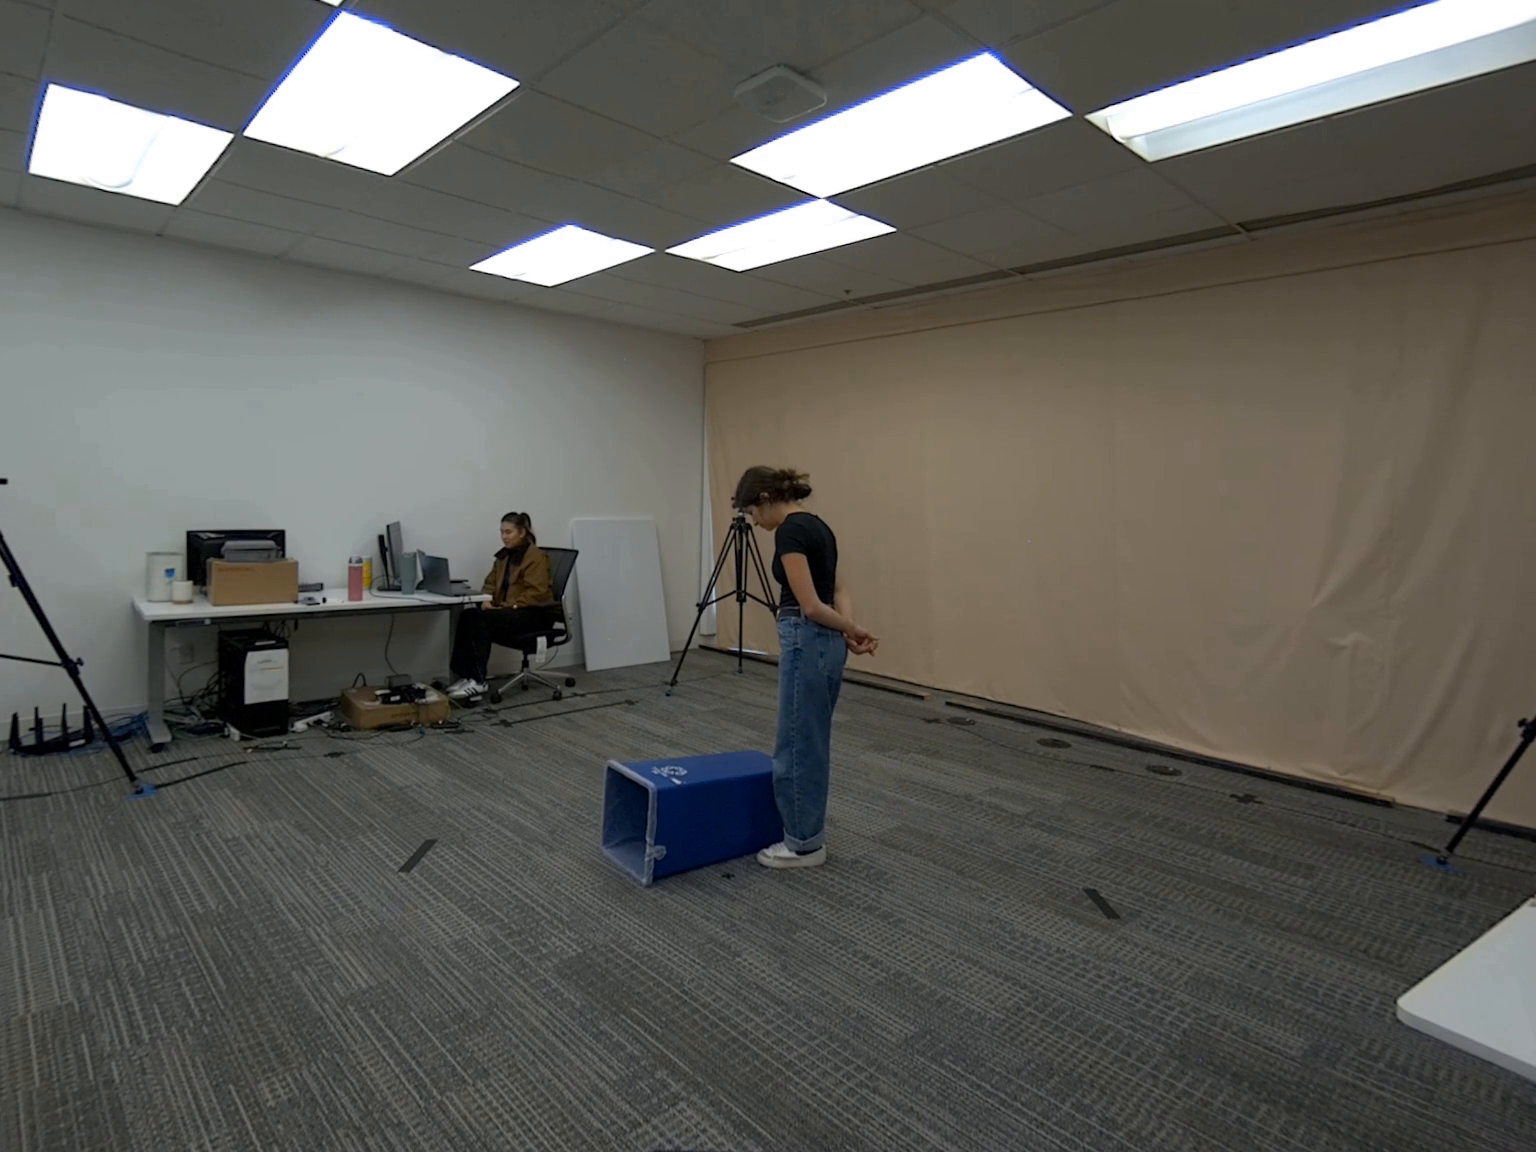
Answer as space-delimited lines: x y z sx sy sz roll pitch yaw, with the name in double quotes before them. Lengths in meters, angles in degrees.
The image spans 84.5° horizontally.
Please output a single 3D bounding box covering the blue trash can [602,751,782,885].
"blue trash can" -0.266 0.917 3.328 0.697 0.377 0.383 2 3 -38
